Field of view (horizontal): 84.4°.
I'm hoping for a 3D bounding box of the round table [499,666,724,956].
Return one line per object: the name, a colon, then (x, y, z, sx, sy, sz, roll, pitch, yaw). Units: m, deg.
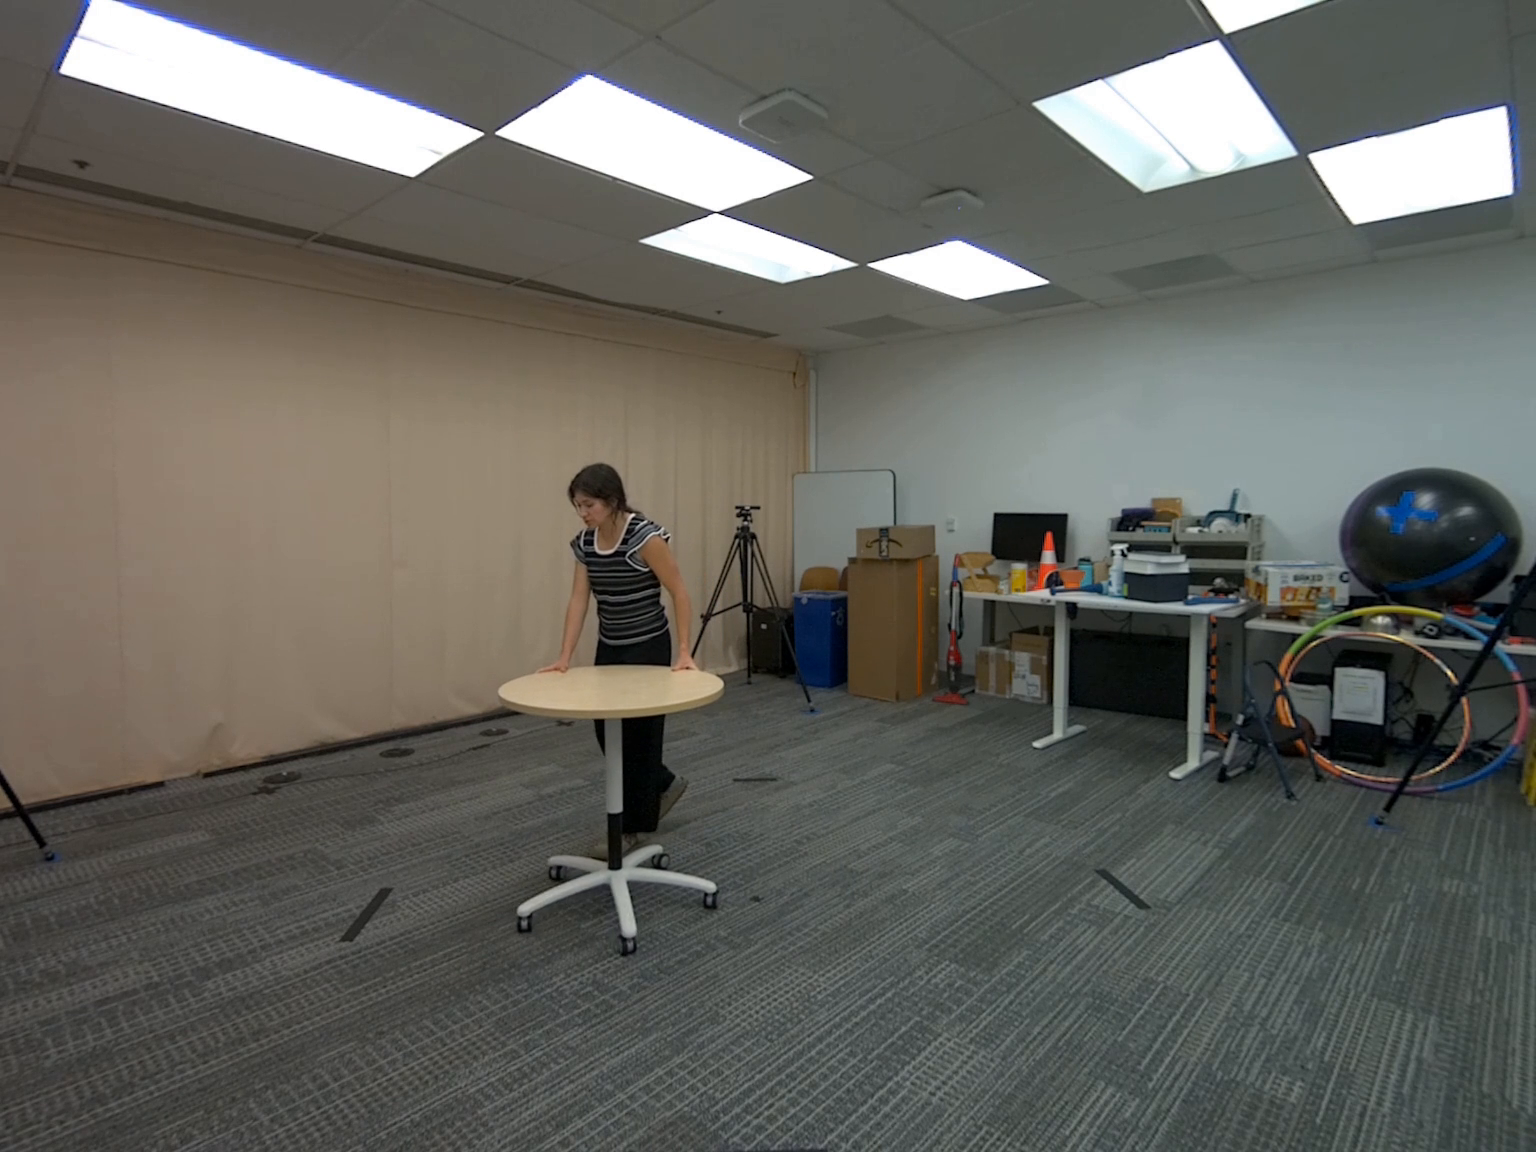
round table: (-0.523, 0.767, 2.914, 0.763, 0.792, 0.766, -1, 3, -2)
